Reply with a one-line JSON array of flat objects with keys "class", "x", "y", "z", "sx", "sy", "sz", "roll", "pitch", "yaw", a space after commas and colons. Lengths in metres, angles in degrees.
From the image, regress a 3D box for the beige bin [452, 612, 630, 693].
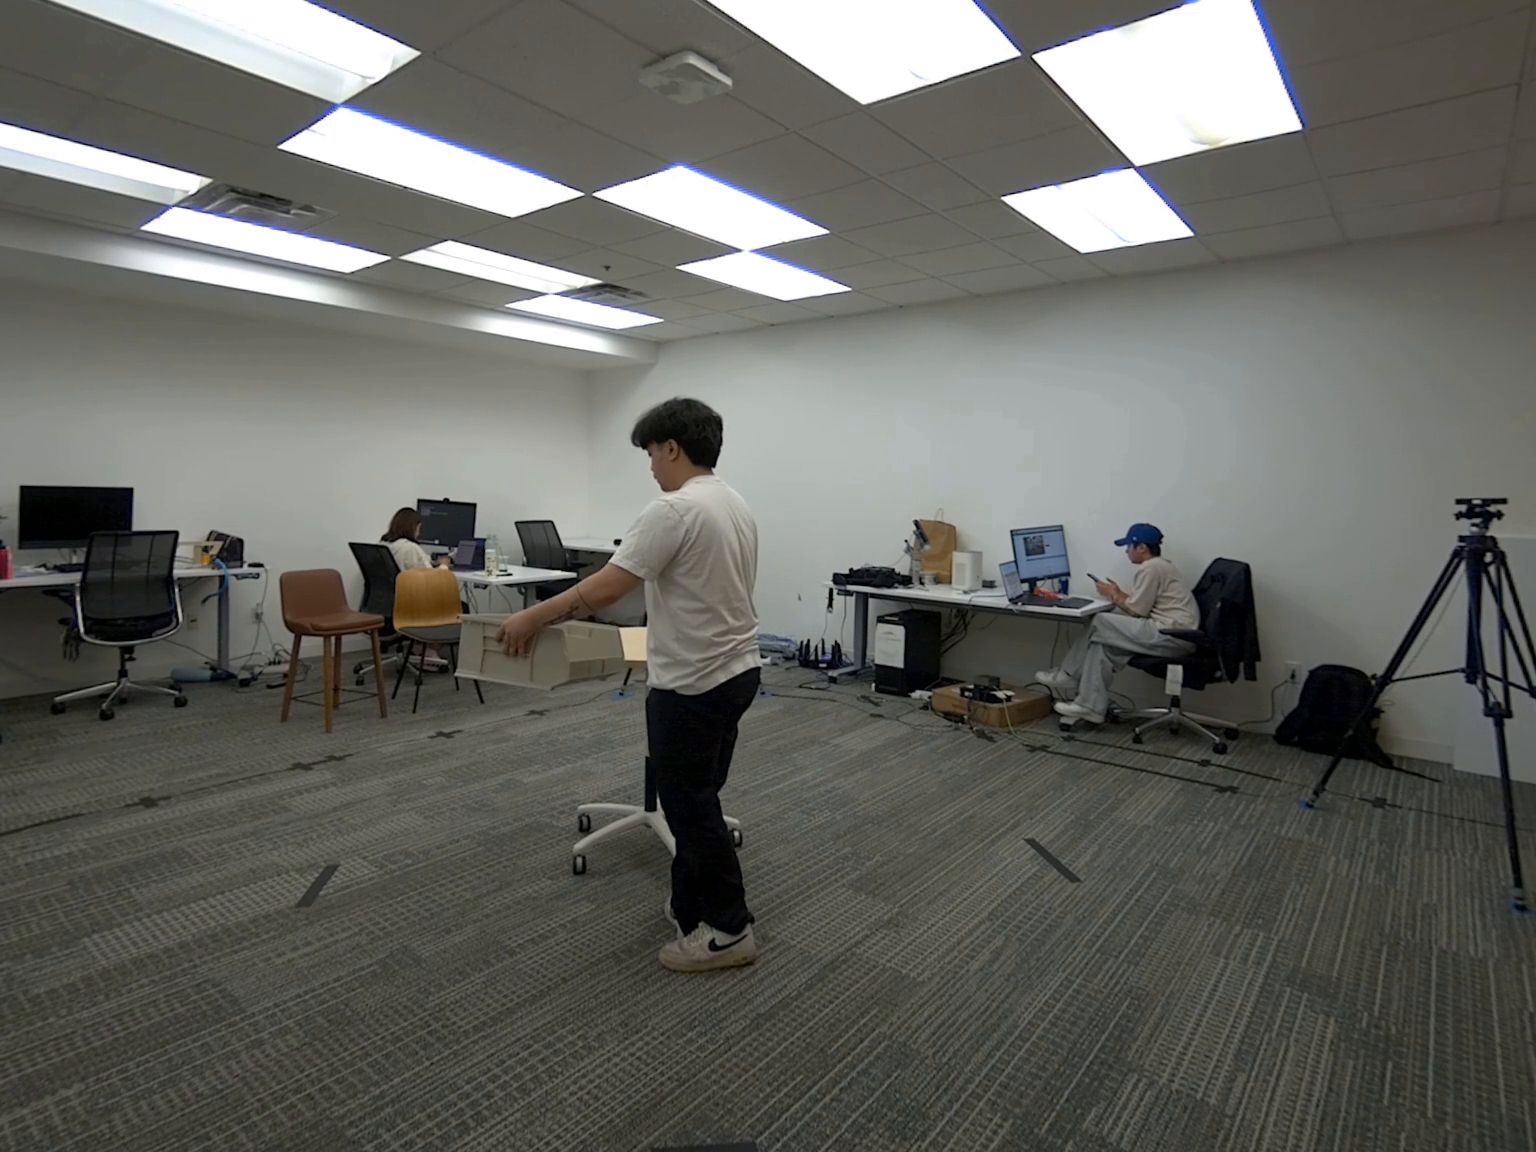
[{"class": "beige bin", "x": -0.699, "y": 0.227, "z": 2.642, "sx": 0.384, "sy": 0.189, "sz": 0.414, "roll": 4, "pitch": -1, "yaw": 14}]
